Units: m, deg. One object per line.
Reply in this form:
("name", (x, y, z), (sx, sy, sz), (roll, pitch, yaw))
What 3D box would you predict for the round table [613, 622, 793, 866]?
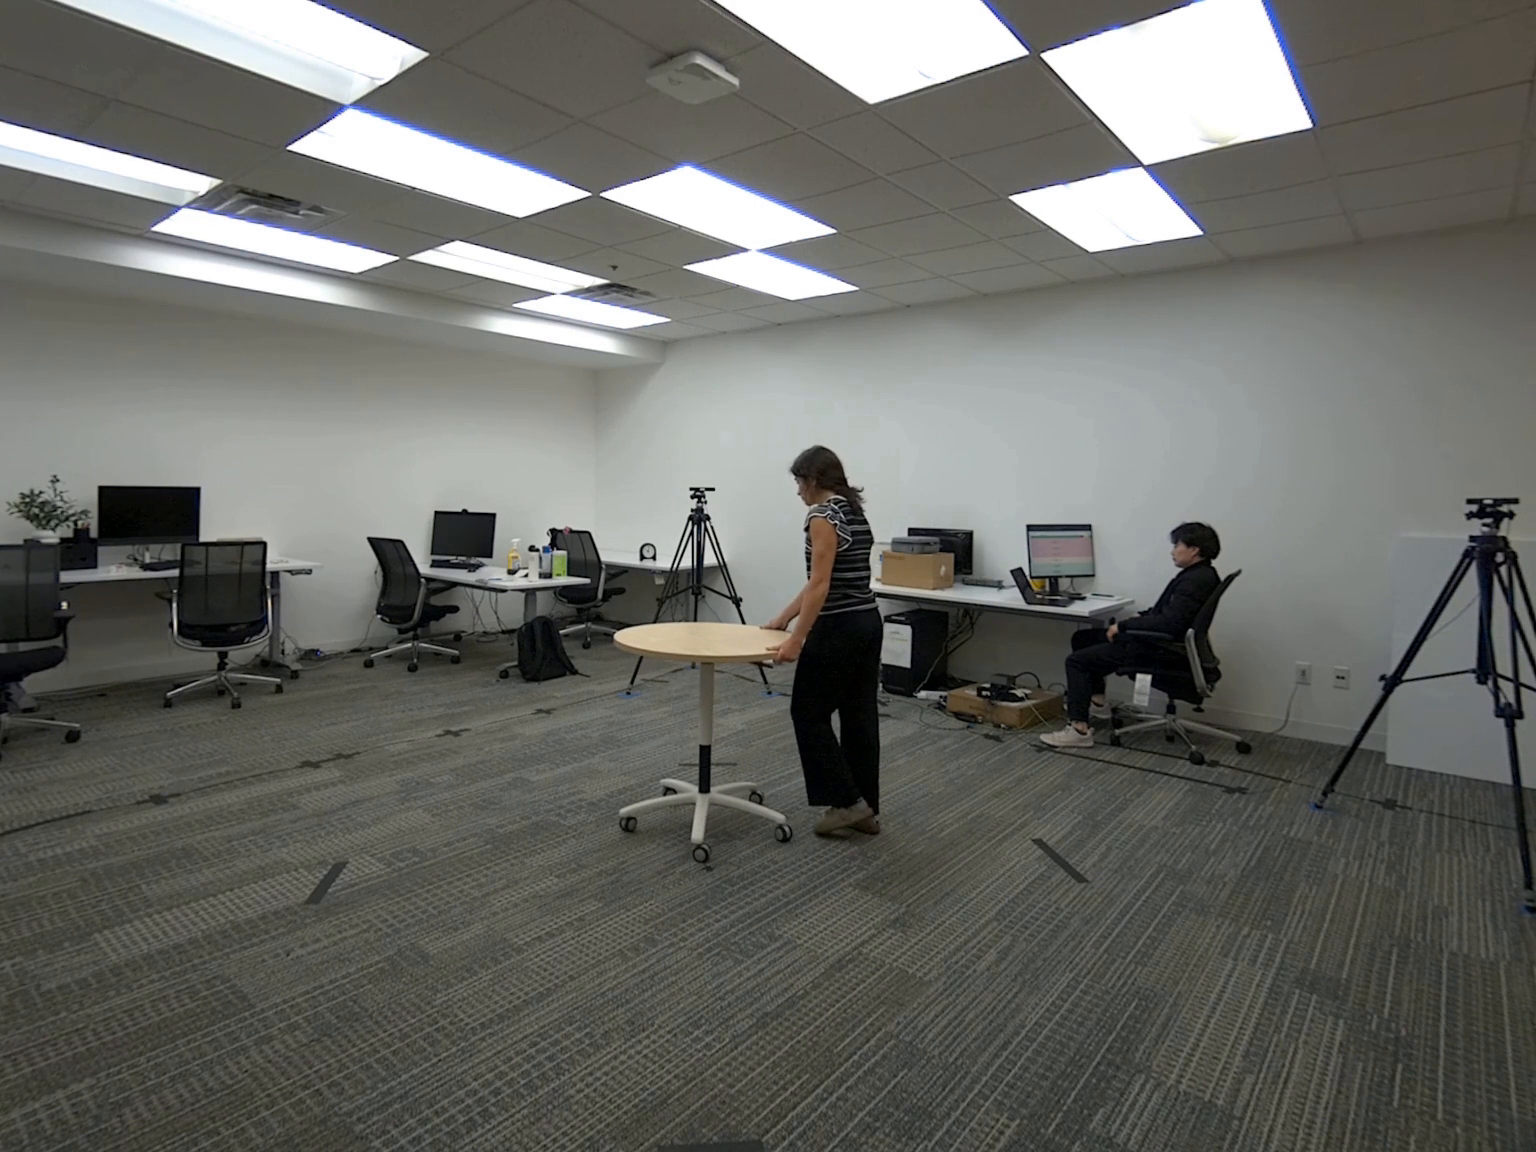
("round table", (-0.269, 0.642, 3.493), (0.763, 0.792, 0.767), (1, 4, -2))
